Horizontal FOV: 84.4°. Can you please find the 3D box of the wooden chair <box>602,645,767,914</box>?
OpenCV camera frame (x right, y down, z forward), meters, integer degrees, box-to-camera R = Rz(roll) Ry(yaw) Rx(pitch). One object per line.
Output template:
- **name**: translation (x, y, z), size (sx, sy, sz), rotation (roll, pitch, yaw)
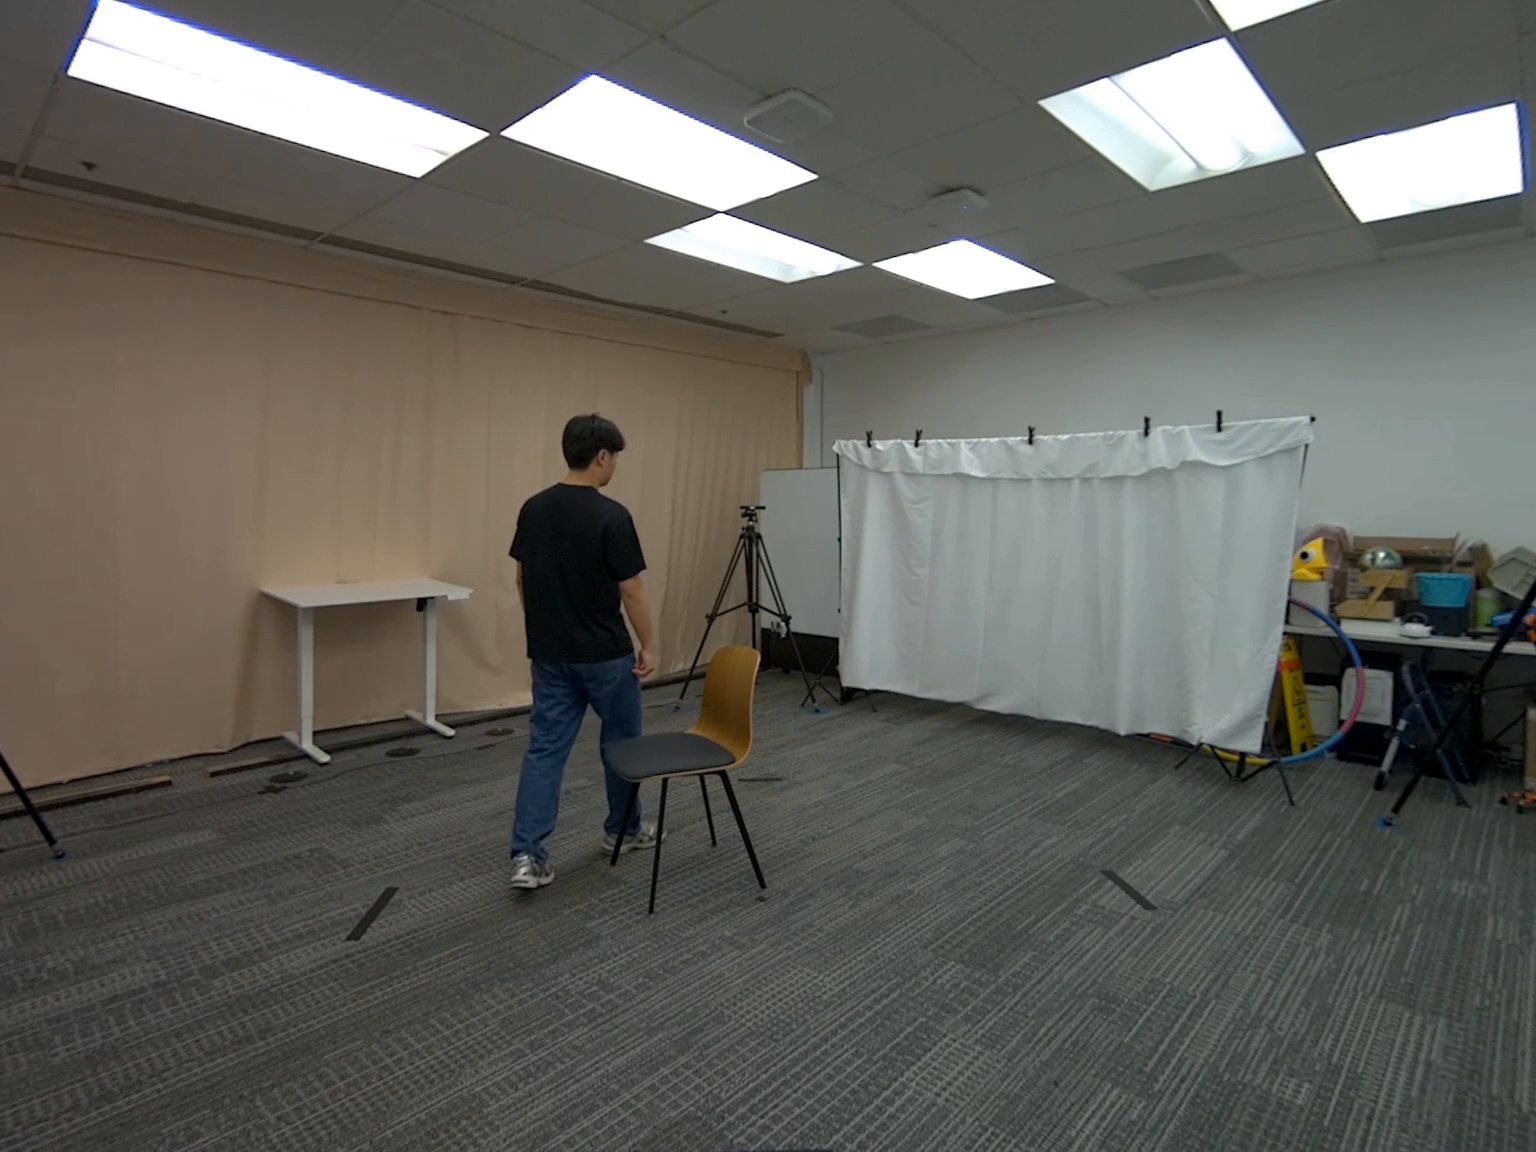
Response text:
- **wooden chair**: translation (-0.315, 0.706, 3.134), size (0.510, 0.877, 0.491), rotation (3, 1, -26)
